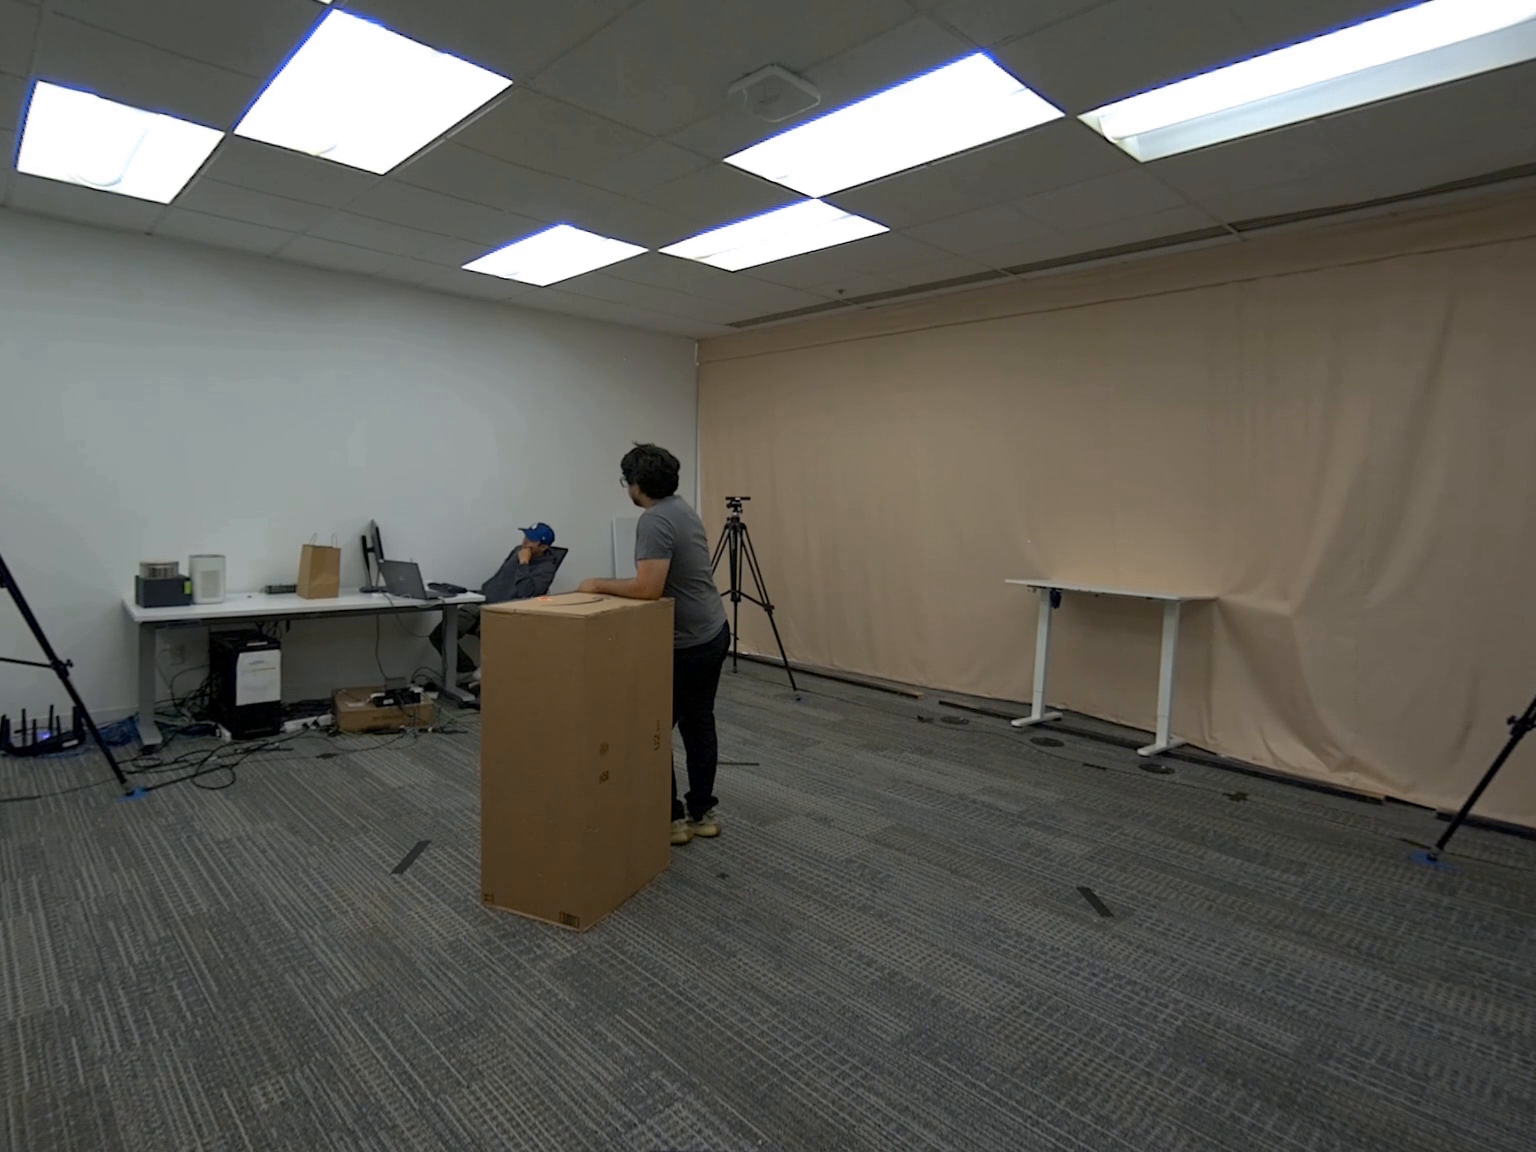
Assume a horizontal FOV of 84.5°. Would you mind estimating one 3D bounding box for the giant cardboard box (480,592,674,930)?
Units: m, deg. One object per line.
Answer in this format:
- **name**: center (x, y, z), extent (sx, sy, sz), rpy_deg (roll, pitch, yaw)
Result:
- **giant cardboard box**: center (-0.676, 0.599, 2.986), extent (0.434, 1.023, 0.568), rpy_deg (3, 4, 25)
